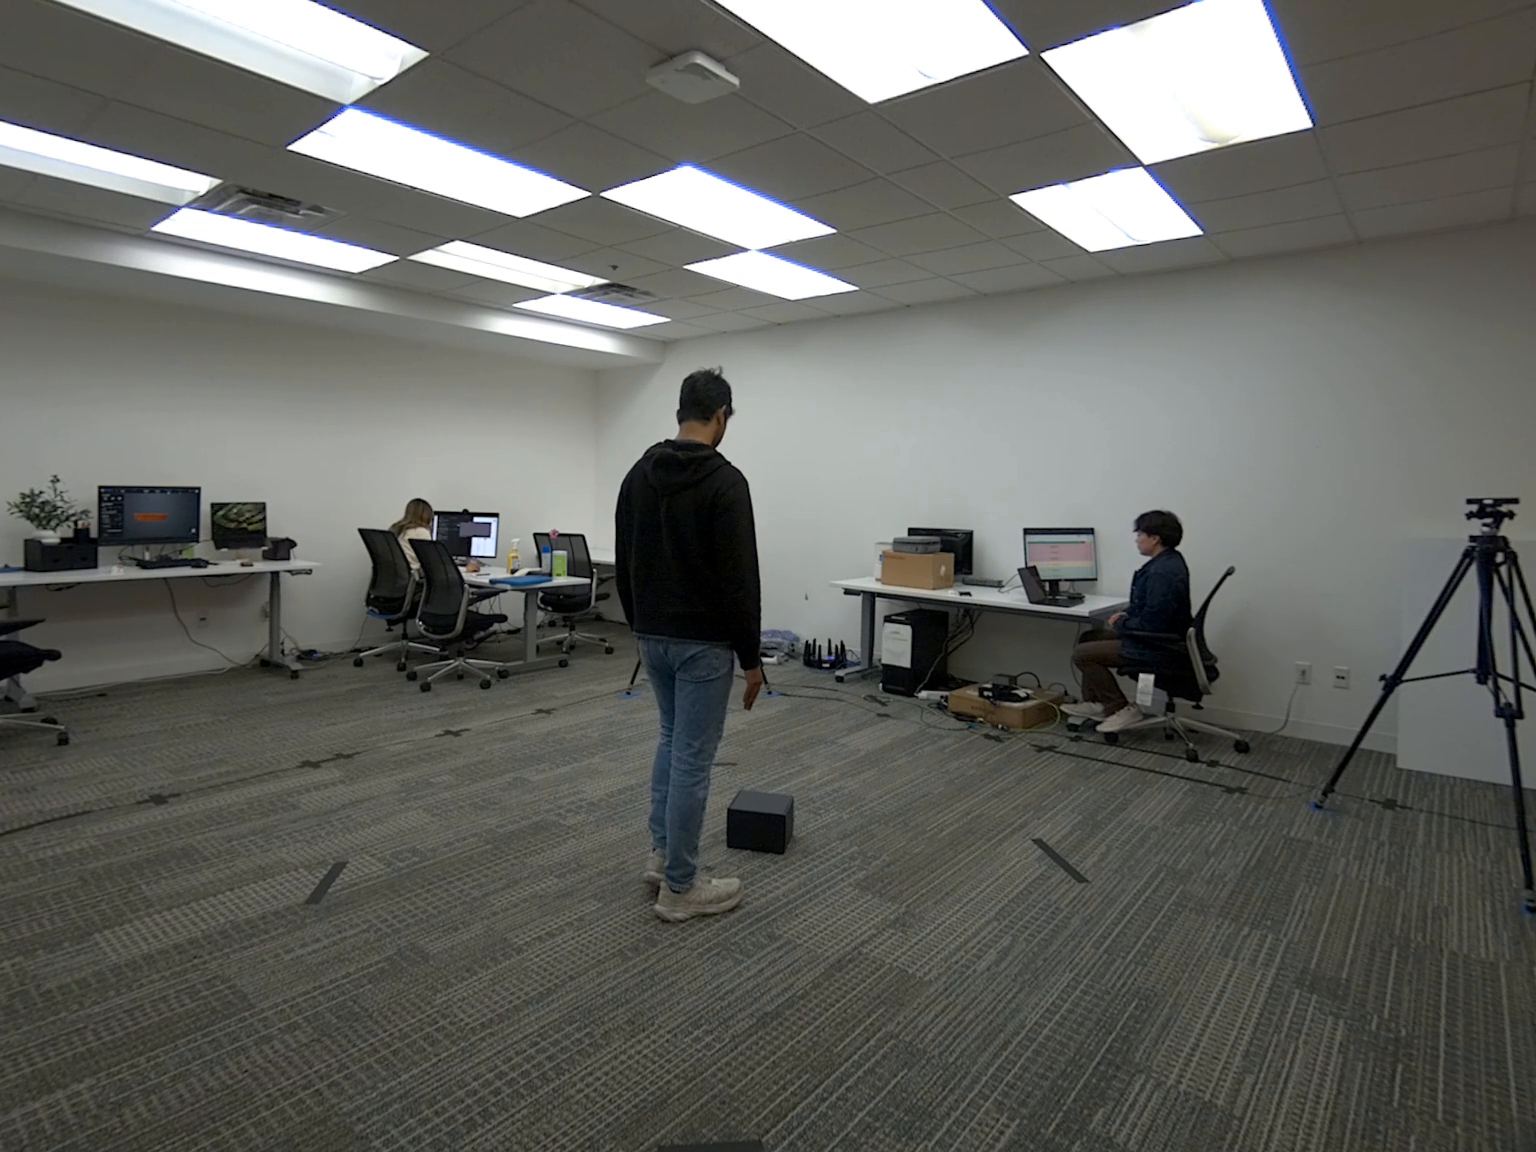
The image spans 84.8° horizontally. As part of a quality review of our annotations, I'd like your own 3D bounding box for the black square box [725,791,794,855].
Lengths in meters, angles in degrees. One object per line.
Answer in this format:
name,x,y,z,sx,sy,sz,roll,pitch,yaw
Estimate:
black square box,-0.036,0.958,3.363,0.231,0.155,0.214,3,5,13
